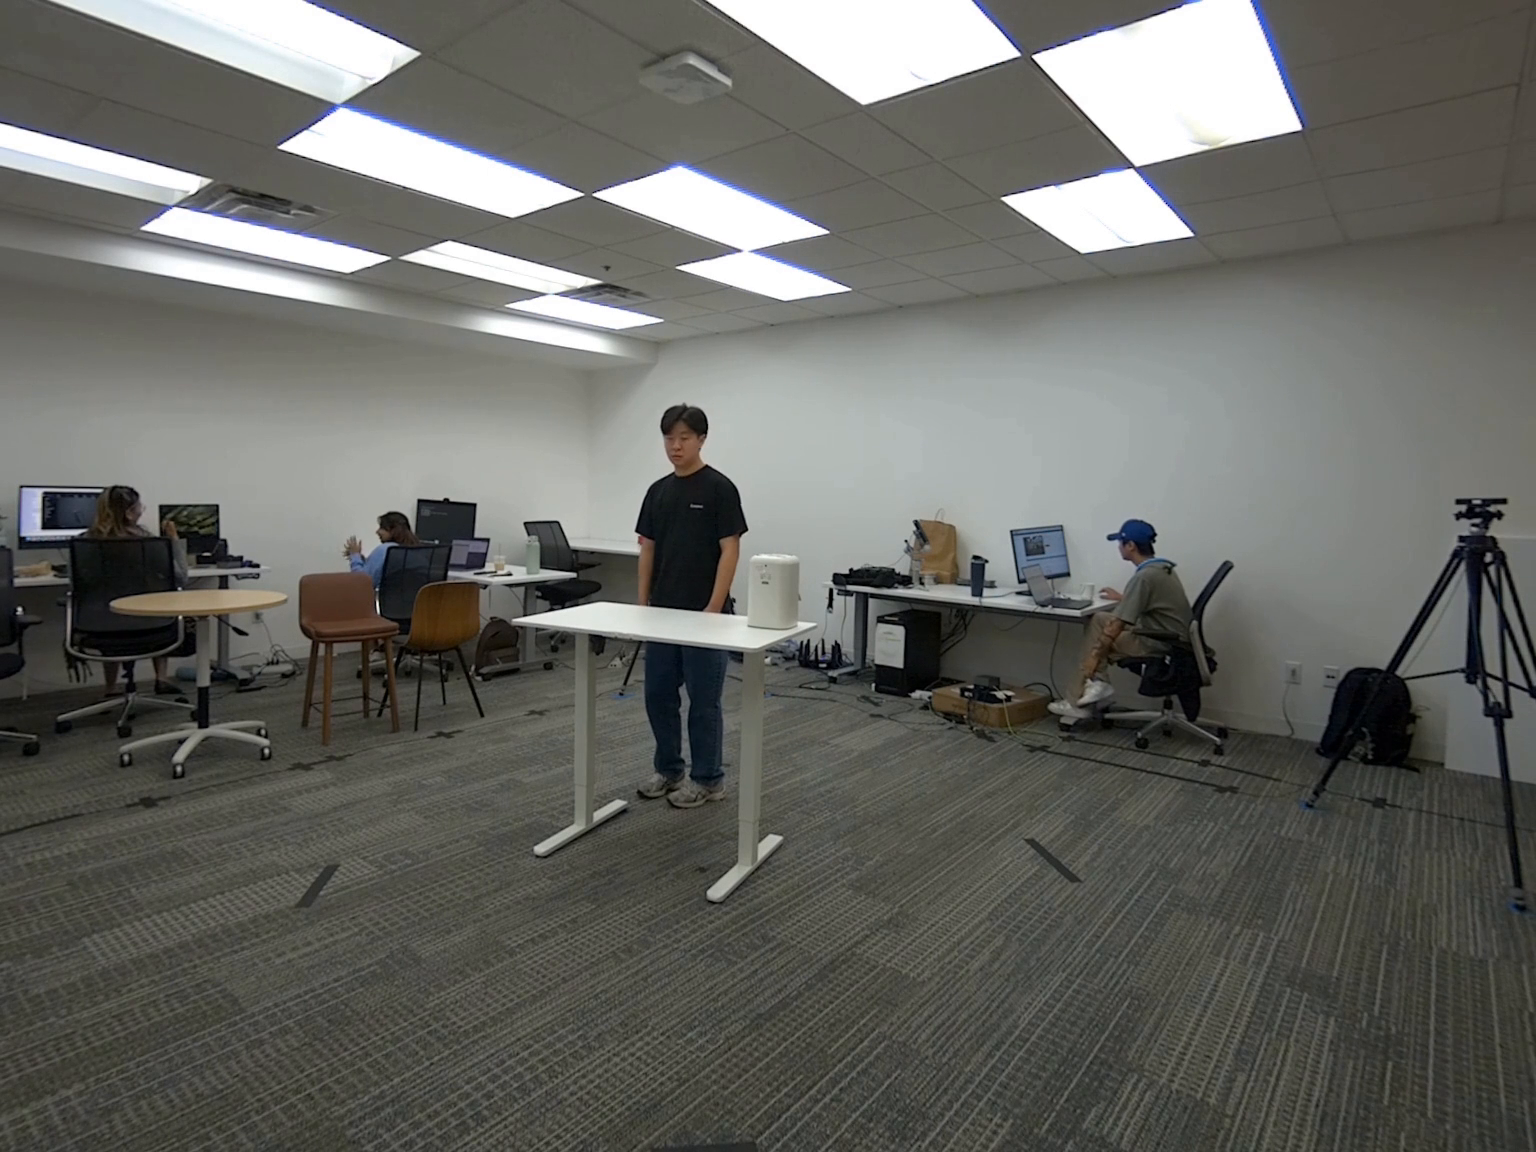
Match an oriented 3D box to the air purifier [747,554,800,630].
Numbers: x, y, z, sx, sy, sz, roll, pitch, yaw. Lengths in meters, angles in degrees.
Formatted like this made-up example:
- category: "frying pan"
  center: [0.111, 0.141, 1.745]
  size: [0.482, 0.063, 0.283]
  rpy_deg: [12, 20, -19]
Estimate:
- category: "air purifier"
  center: [0.010, 0.054, 3.189]
  size: [0.175, 0.265, 0.168]
  rpy_deg: [3, 4, 24]
